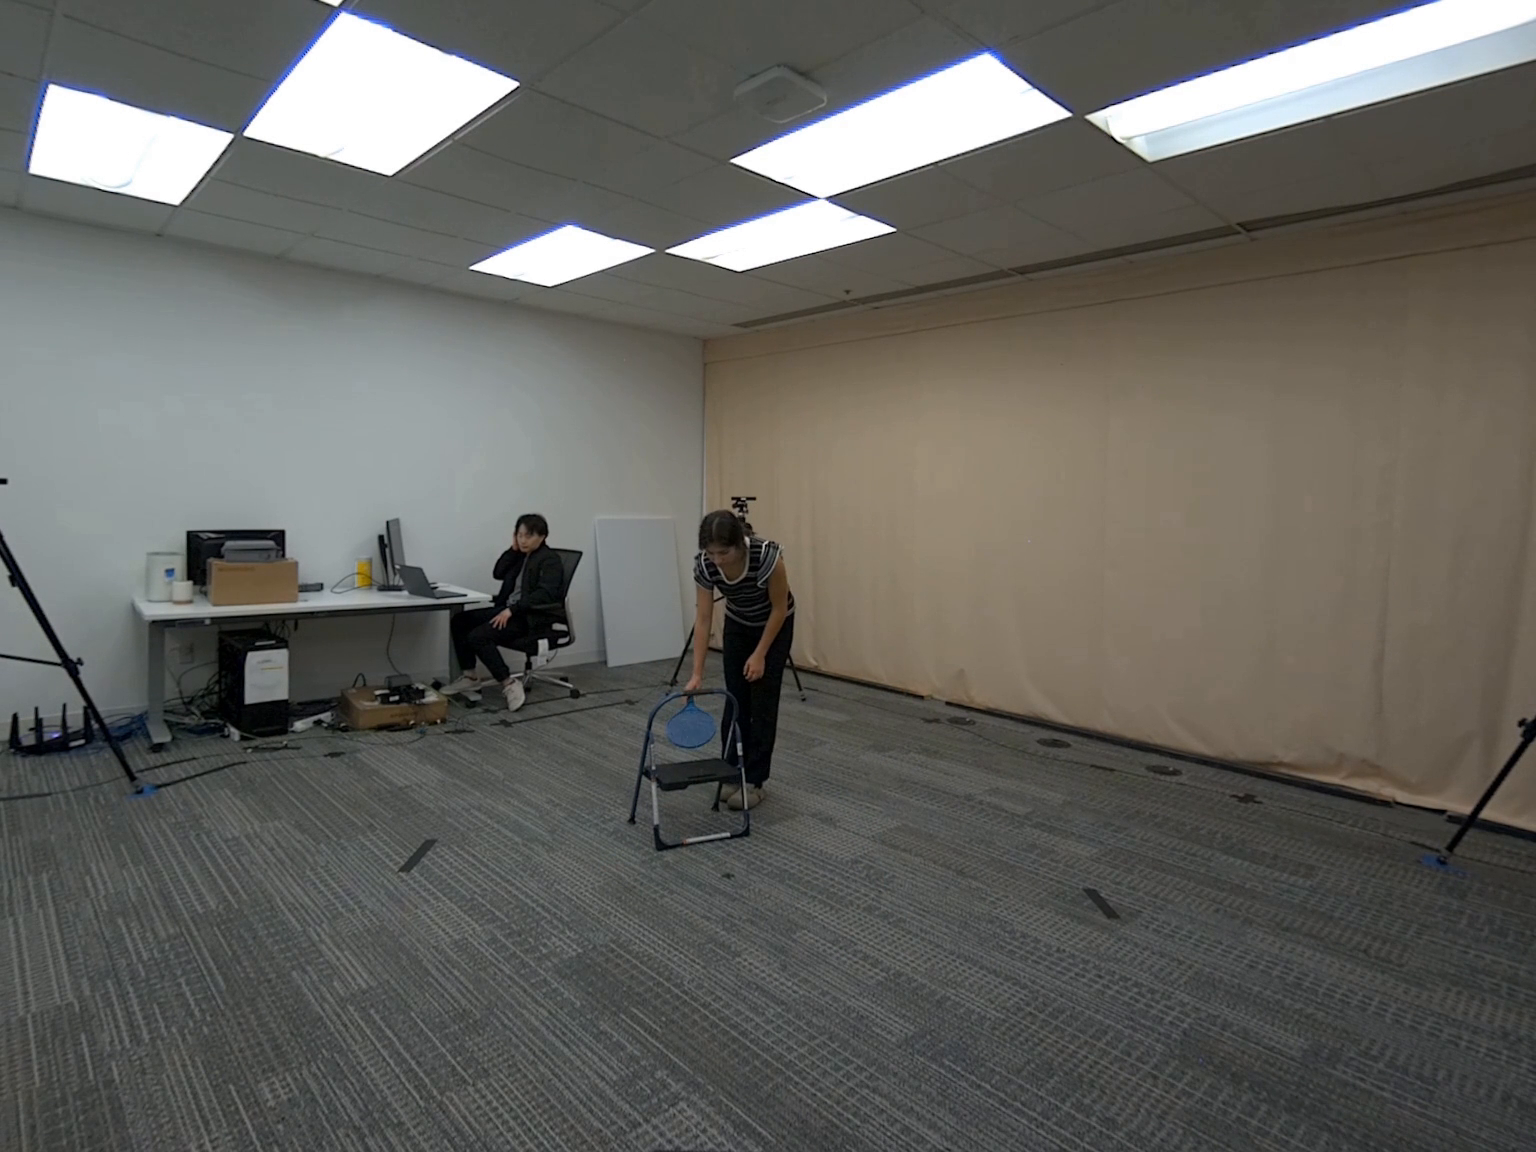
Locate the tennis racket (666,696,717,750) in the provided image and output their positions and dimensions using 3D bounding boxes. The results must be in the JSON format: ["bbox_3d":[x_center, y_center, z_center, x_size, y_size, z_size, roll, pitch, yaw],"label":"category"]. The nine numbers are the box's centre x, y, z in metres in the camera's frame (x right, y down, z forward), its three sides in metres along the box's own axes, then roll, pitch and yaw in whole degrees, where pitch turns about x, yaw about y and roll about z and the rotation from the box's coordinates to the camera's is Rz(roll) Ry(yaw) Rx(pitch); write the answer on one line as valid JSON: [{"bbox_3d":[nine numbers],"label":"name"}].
[{"bbox_3d":[-0.332,0.626,3.675,0.213,0.031,0.442,-6,27,-4],"label":"tennis racket"}]
